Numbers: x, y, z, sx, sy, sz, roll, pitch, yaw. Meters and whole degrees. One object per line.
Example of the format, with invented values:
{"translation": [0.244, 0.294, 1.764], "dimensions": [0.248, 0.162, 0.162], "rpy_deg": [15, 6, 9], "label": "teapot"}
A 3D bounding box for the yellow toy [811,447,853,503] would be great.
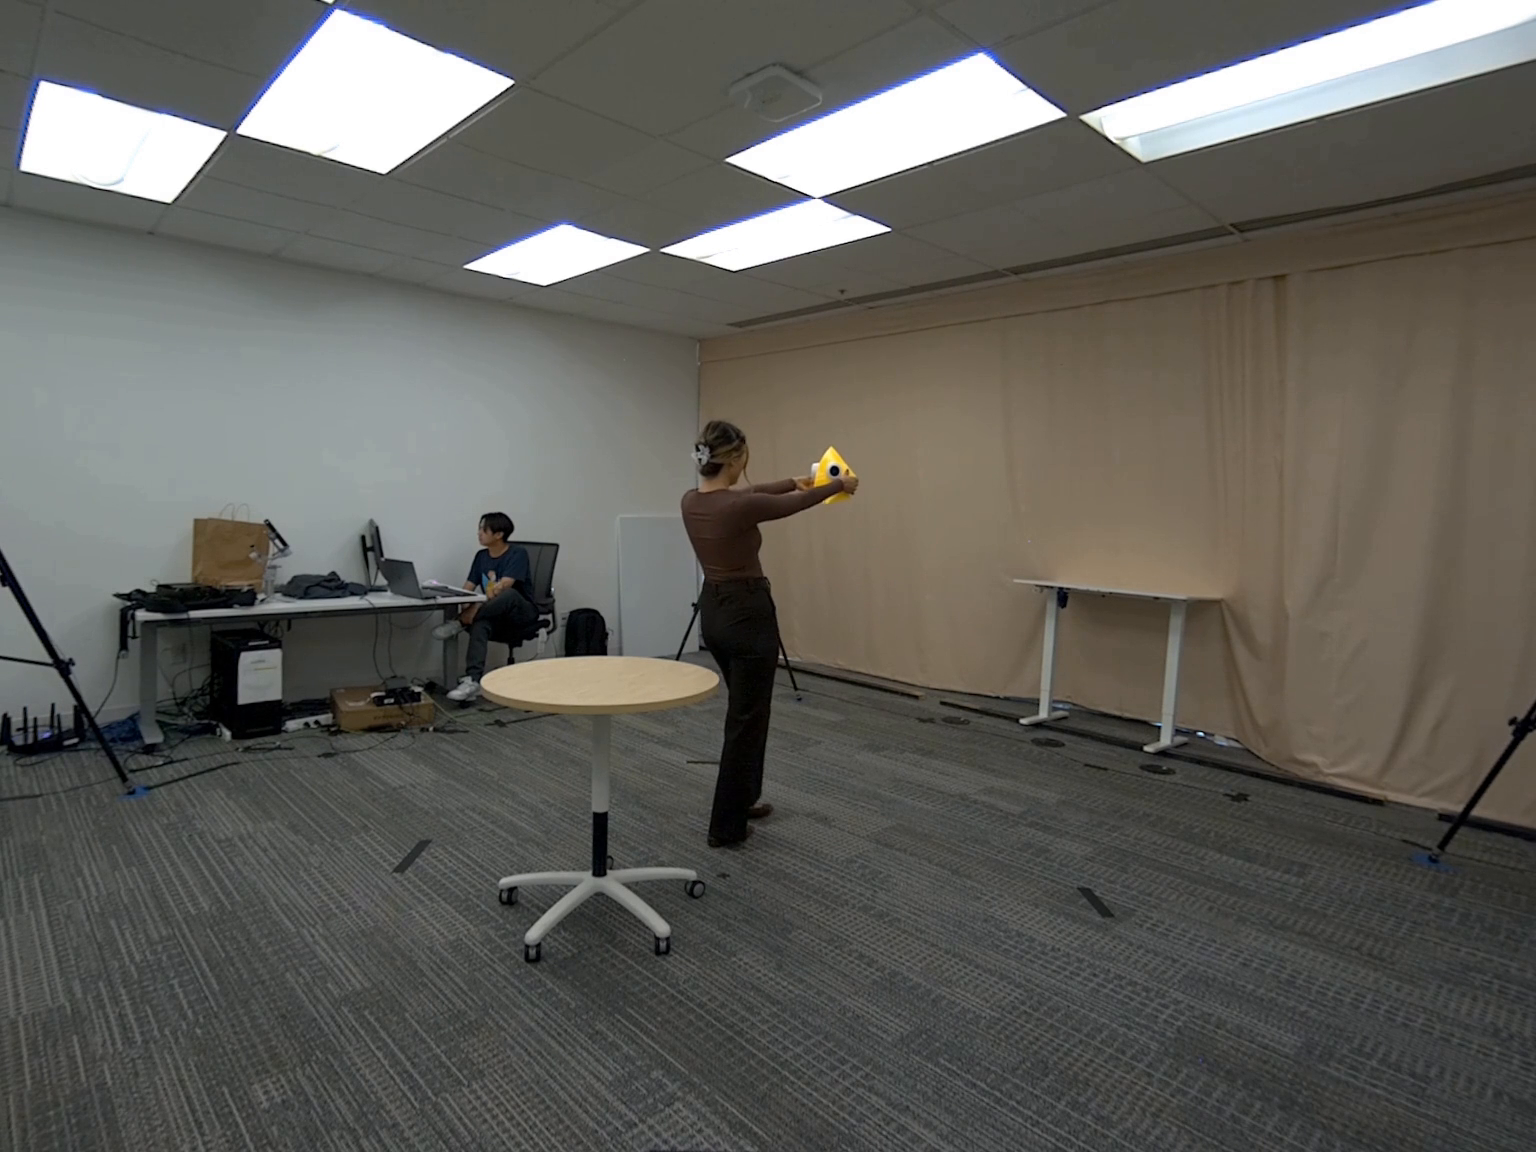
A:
{"translation": [0.246, -0.447, 3.706], "dimensions": [0.190, 0.228, 0.210], "rpy_deg": [-18, 16, -42], "label": "yellow toy"}
